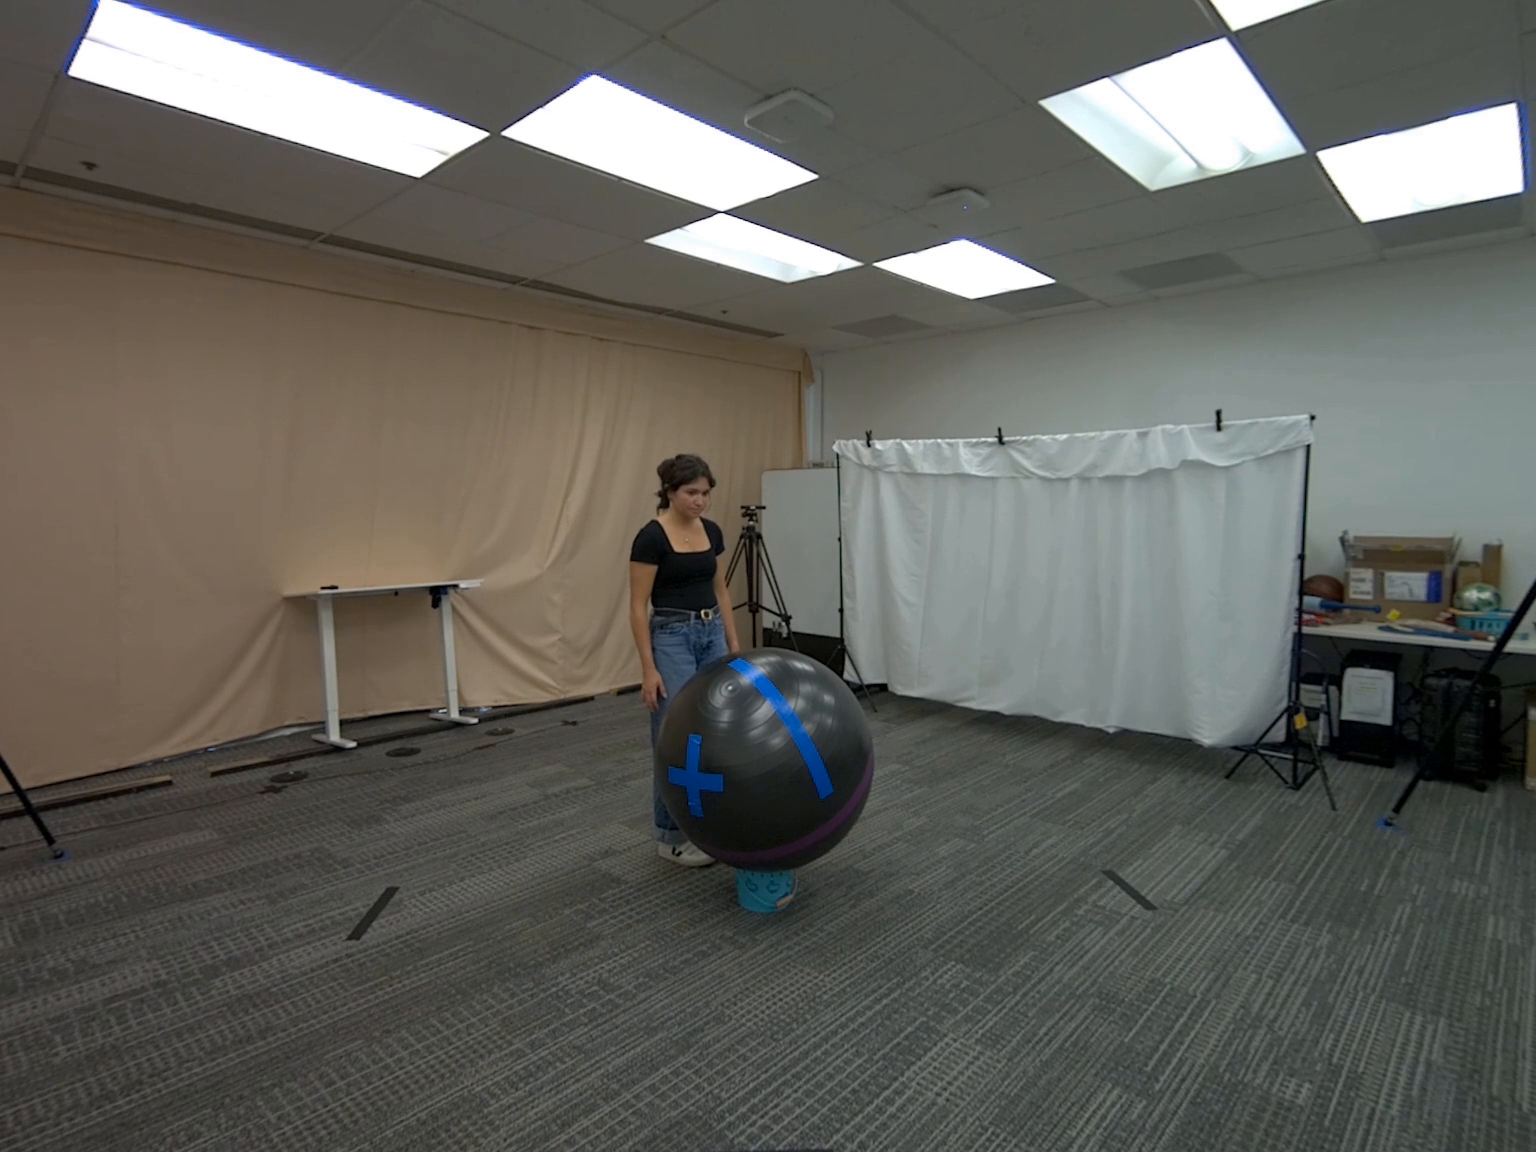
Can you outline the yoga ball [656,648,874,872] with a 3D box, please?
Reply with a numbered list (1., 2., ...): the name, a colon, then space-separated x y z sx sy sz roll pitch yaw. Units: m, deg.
1. yoga ball: -0.009 0.634 2.947 0.757 0.756 0.760 0 4 -2
